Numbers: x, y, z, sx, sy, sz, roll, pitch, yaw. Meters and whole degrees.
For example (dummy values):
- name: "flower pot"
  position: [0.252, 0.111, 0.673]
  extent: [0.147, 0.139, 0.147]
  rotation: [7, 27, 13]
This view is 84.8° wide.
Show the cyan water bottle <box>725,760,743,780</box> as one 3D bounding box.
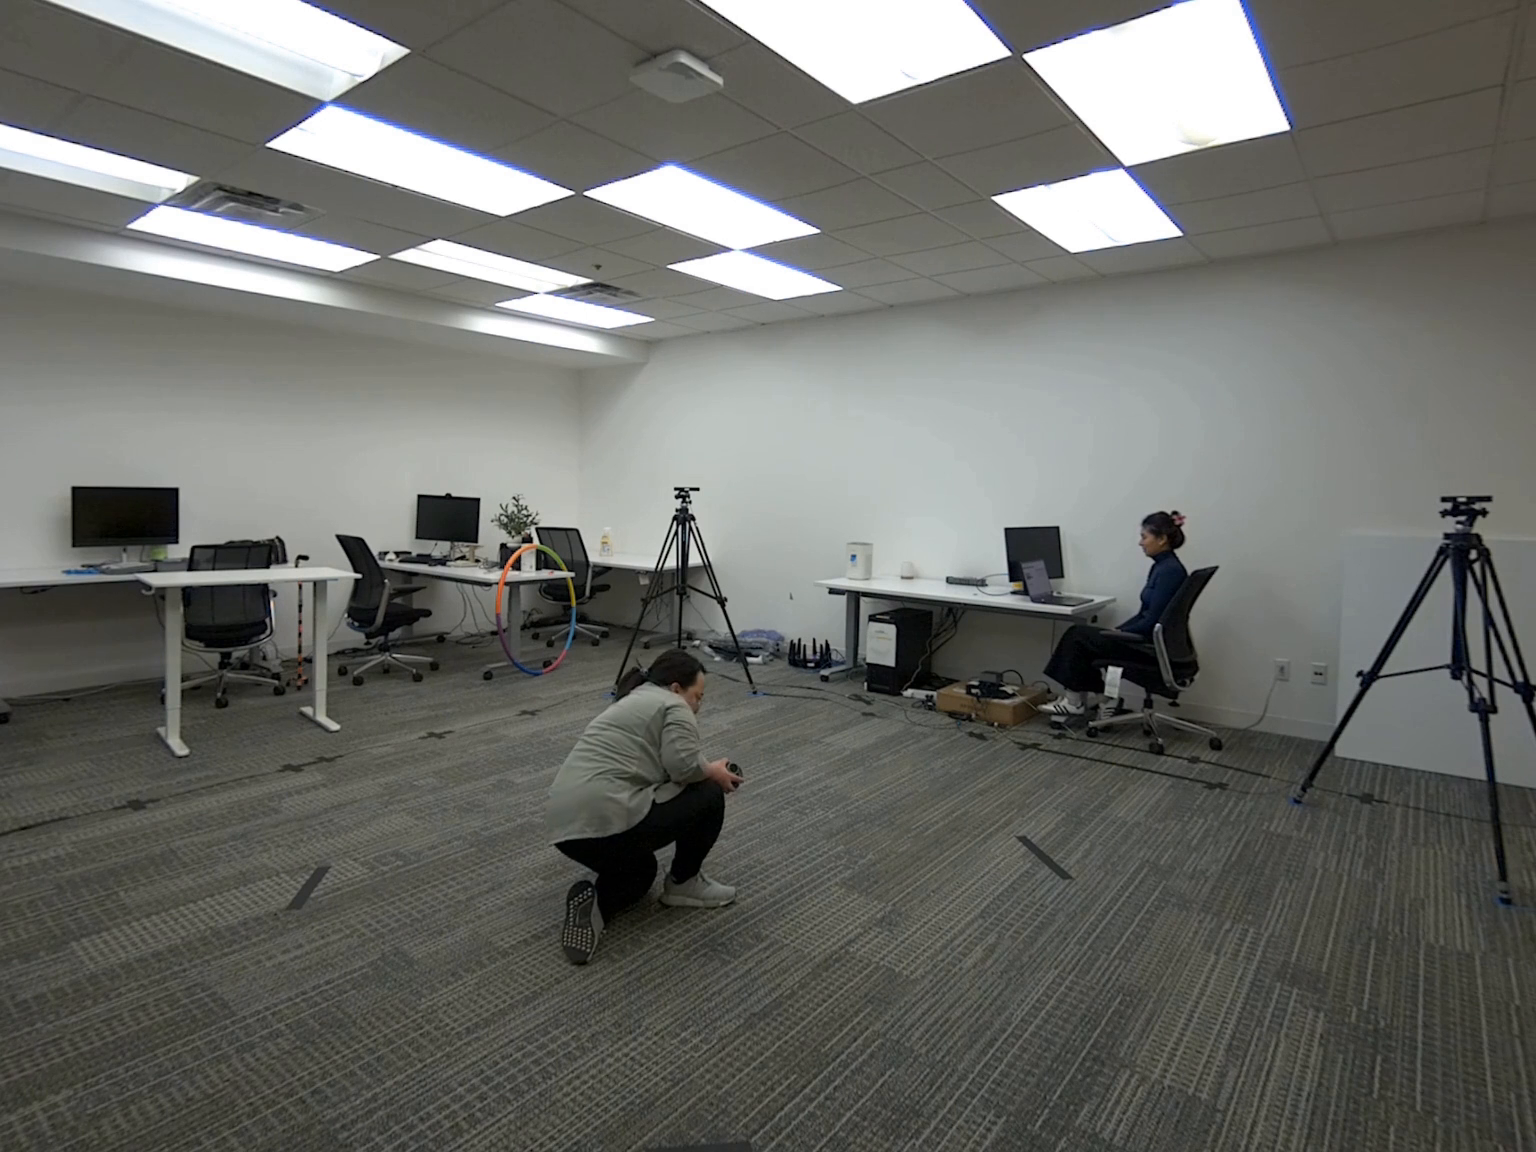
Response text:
- name: "cyan water bottle"
  position: [-0.181, 0.709, 2.976]
  extent: [0.091, 0.094, 0.282]
  rotation: [0, -20, -17]
